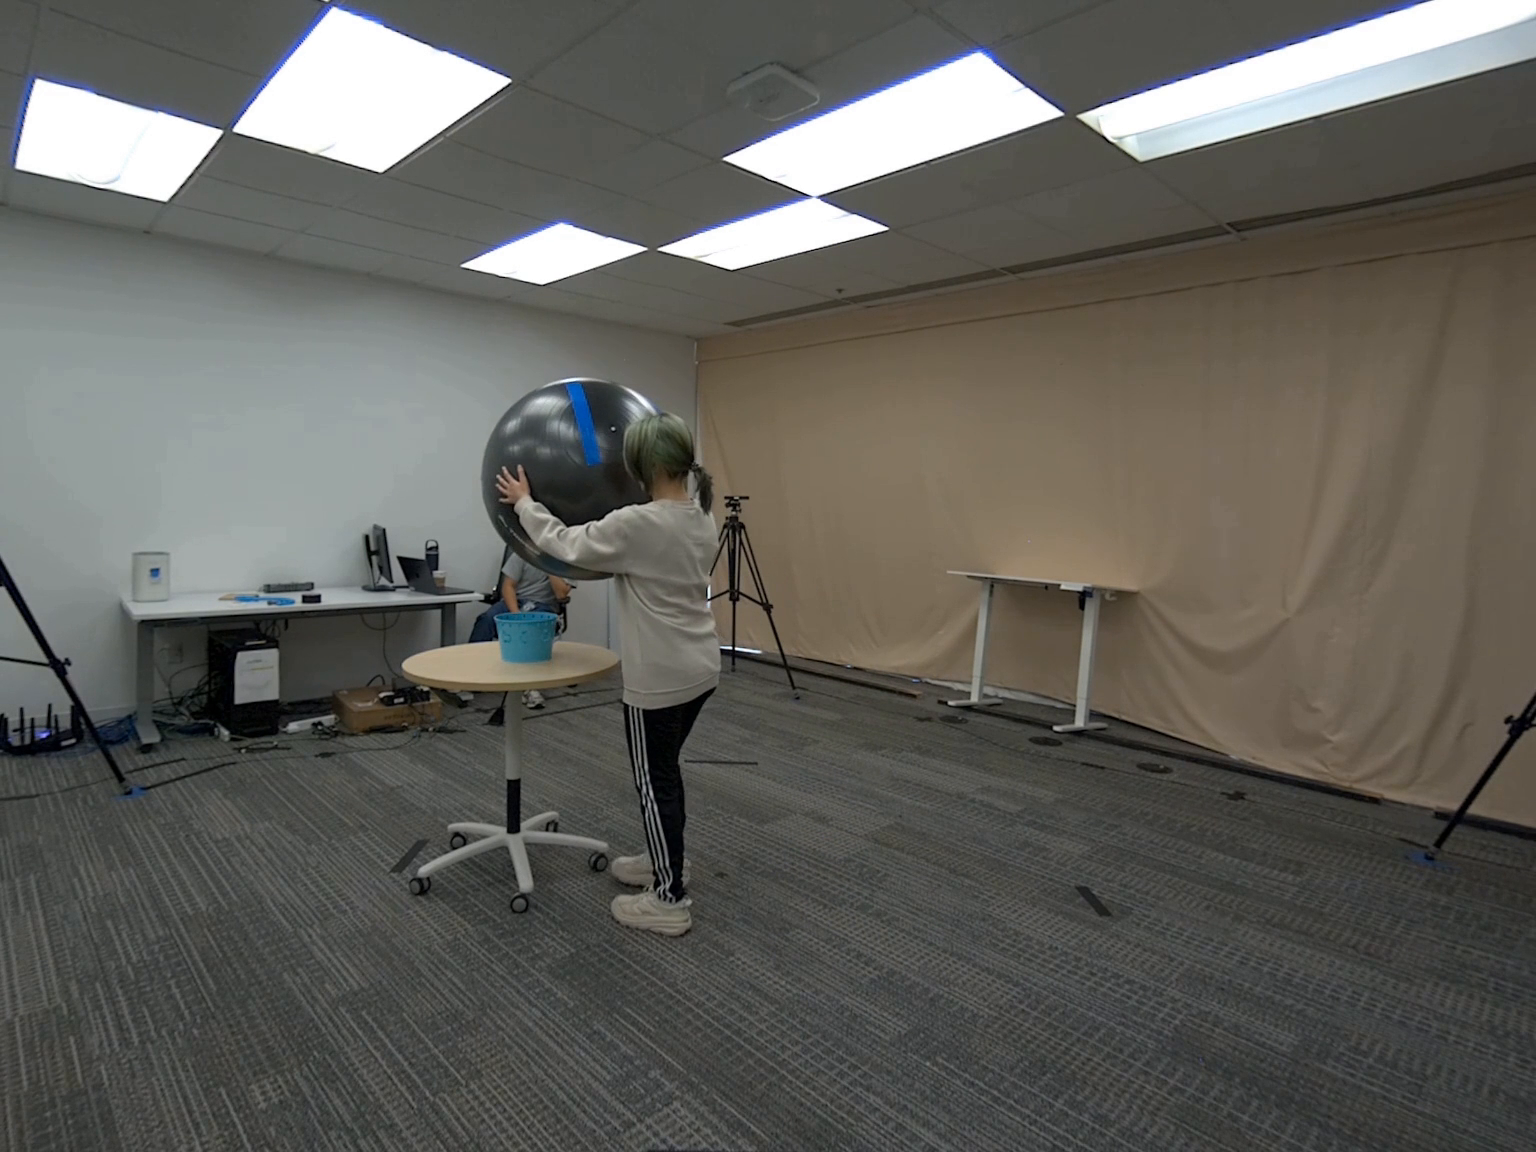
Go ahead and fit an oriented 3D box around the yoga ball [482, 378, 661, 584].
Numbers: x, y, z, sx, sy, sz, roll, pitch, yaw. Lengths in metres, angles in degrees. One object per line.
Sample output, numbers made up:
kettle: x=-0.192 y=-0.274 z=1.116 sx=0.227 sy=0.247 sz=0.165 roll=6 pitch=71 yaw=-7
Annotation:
yoga ball: x=-0.692 y=-0.361 z=3.162 sx=0.757 sy=0.756 sz=0.761 roll=1 pitch=4 yaw=-1
